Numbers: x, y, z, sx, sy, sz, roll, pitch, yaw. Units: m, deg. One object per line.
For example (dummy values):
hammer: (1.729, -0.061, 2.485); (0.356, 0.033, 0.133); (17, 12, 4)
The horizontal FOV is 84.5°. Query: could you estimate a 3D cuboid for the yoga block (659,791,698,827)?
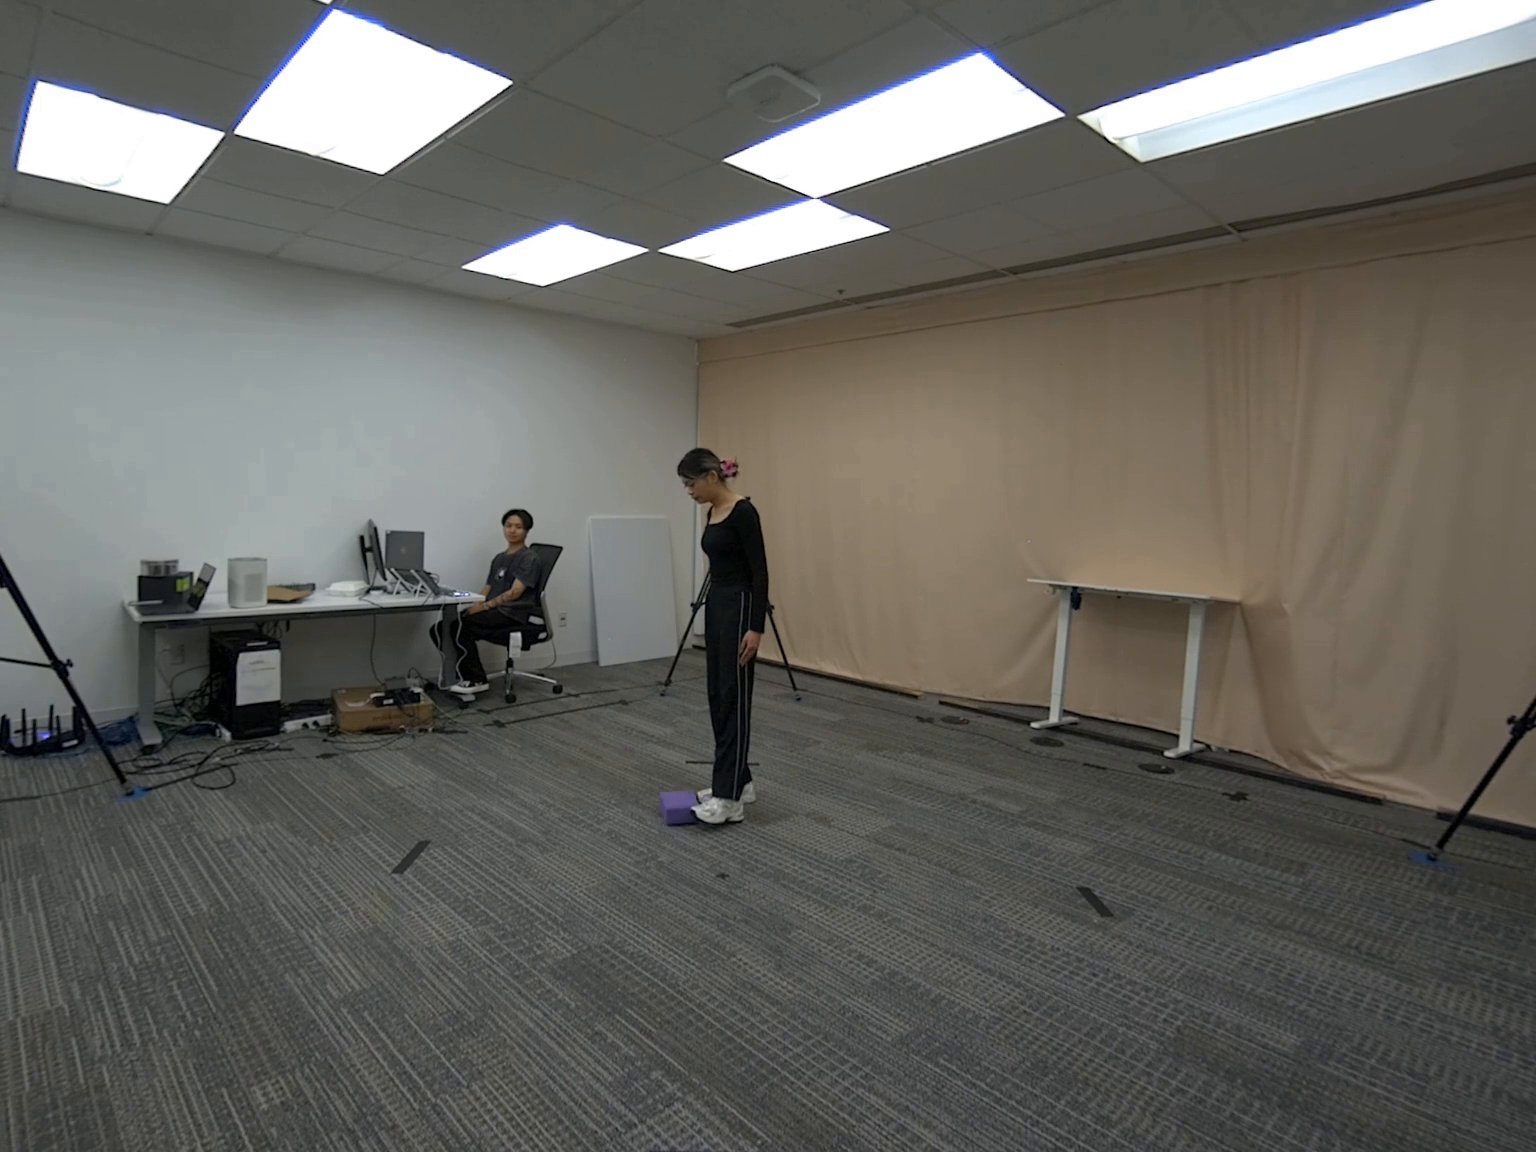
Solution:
yoga block: (-0.386, 1.007, 3.675); (0.147, 0.076, 0.232); (-2, 4, -13)
